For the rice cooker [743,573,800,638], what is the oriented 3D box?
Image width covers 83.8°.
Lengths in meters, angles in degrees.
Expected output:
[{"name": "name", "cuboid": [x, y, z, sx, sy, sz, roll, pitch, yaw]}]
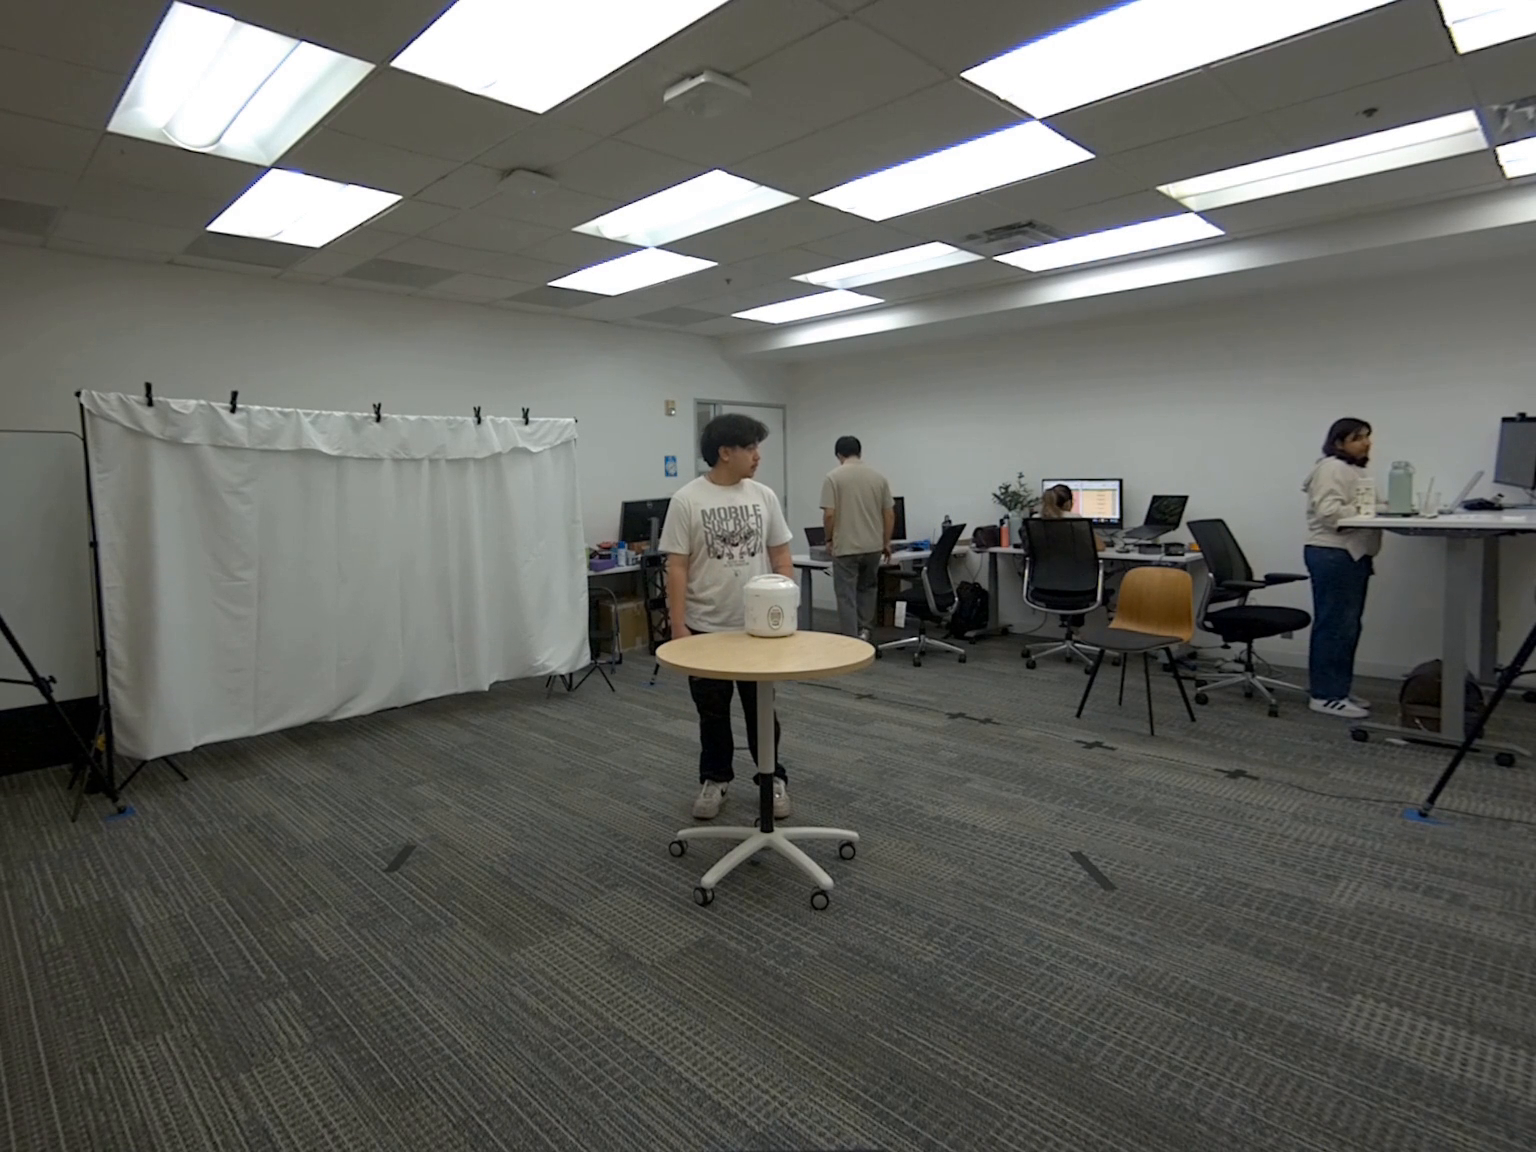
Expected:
[{"name": "rice cooker", "cuboid": [0.011, 0.112, 3.291, 0.219, 0.232, 0.219, -2, 3, -7]}]
